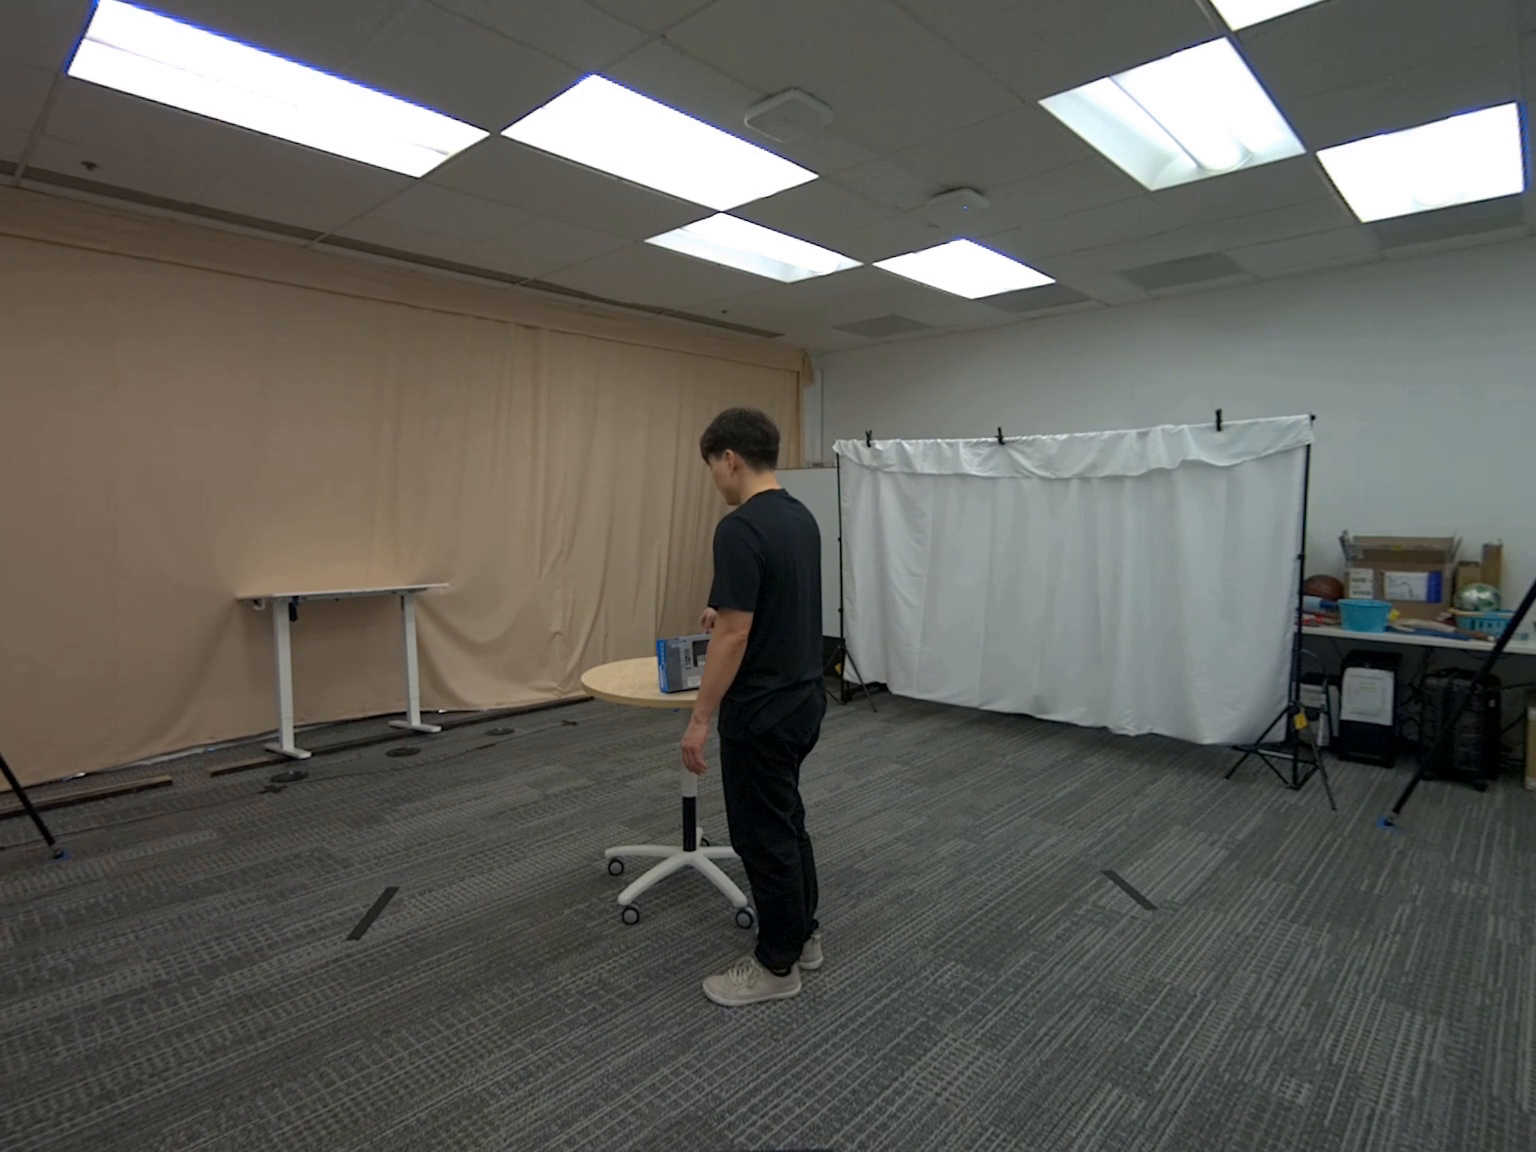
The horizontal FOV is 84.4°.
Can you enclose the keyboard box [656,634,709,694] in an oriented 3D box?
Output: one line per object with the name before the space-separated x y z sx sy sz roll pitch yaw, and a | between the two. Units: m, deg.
keyboard box | -0.170 0.284 2.872 0.424 0.176 0.061 -3 -2 -34
